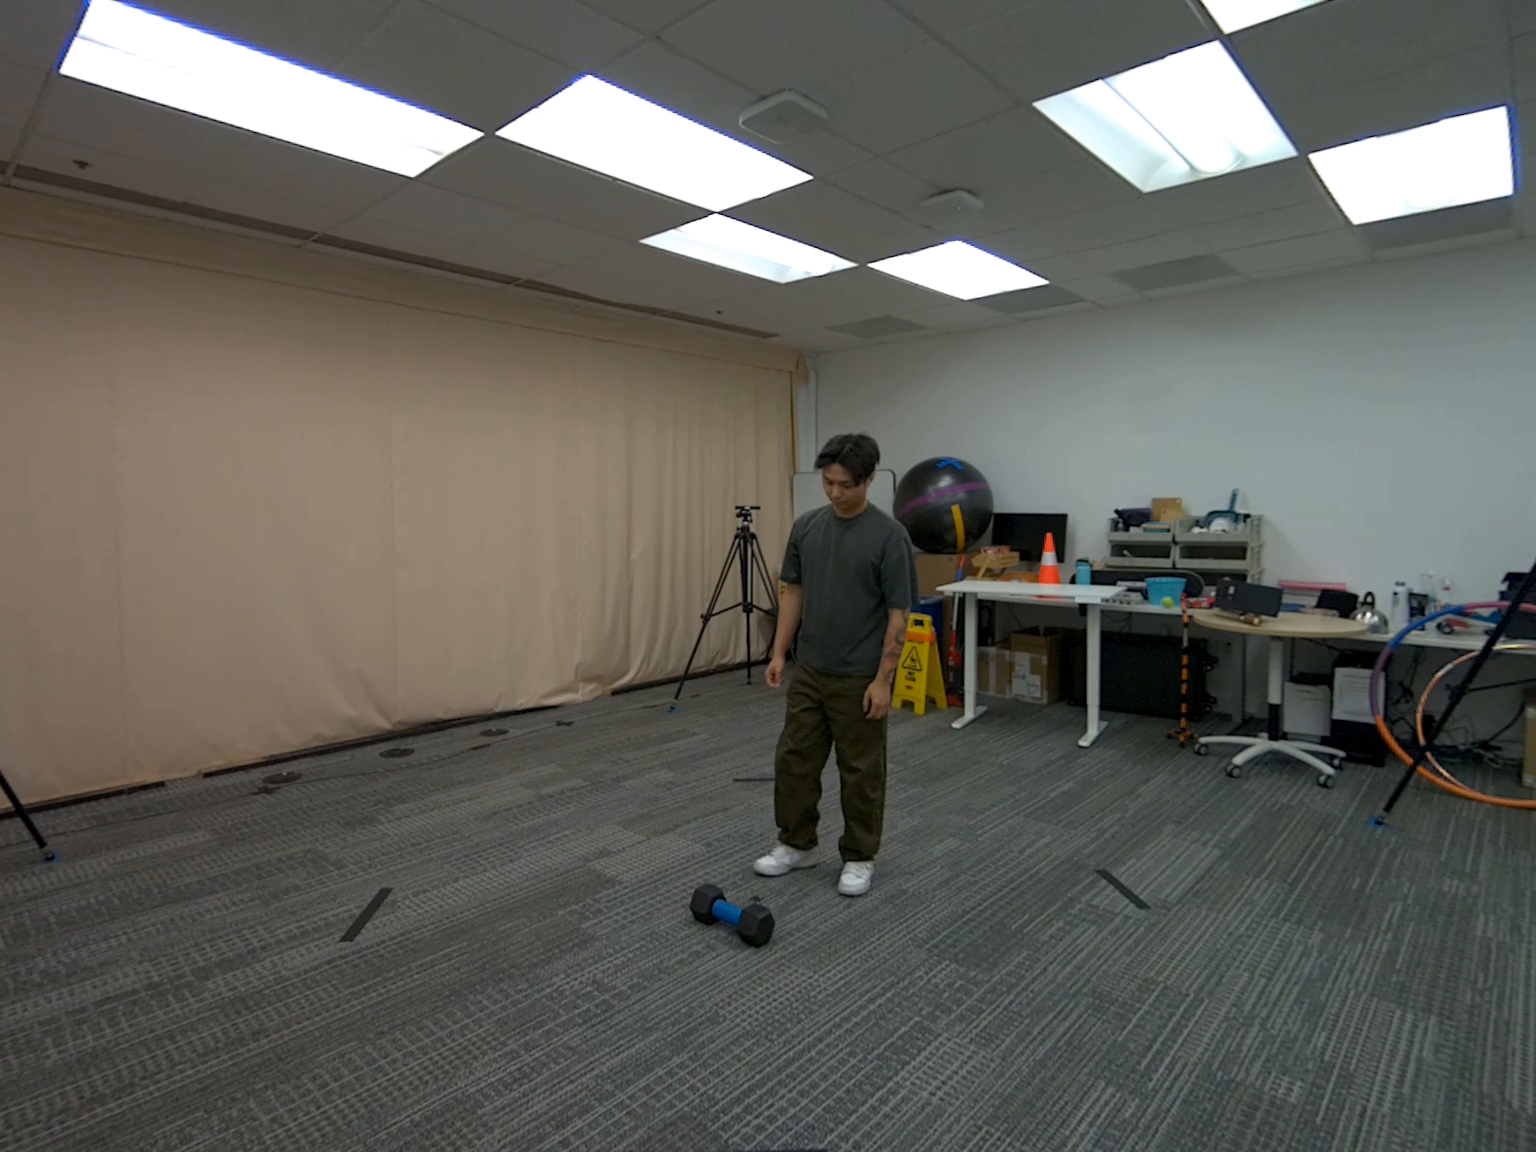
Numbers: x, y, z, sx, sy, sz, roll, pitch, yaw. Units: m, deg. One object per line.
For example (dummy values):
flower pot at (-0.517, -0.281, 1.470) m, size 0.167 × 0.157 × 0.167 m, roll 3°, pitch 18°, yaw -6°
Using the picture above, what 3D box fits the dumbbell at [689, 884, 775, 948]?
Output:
dumbbell at (-0.117, 1.110, 2.756) m, size 0.303 × 0.120 × 0.107 m, roll 4°, pitch 36°, yaw 42°
